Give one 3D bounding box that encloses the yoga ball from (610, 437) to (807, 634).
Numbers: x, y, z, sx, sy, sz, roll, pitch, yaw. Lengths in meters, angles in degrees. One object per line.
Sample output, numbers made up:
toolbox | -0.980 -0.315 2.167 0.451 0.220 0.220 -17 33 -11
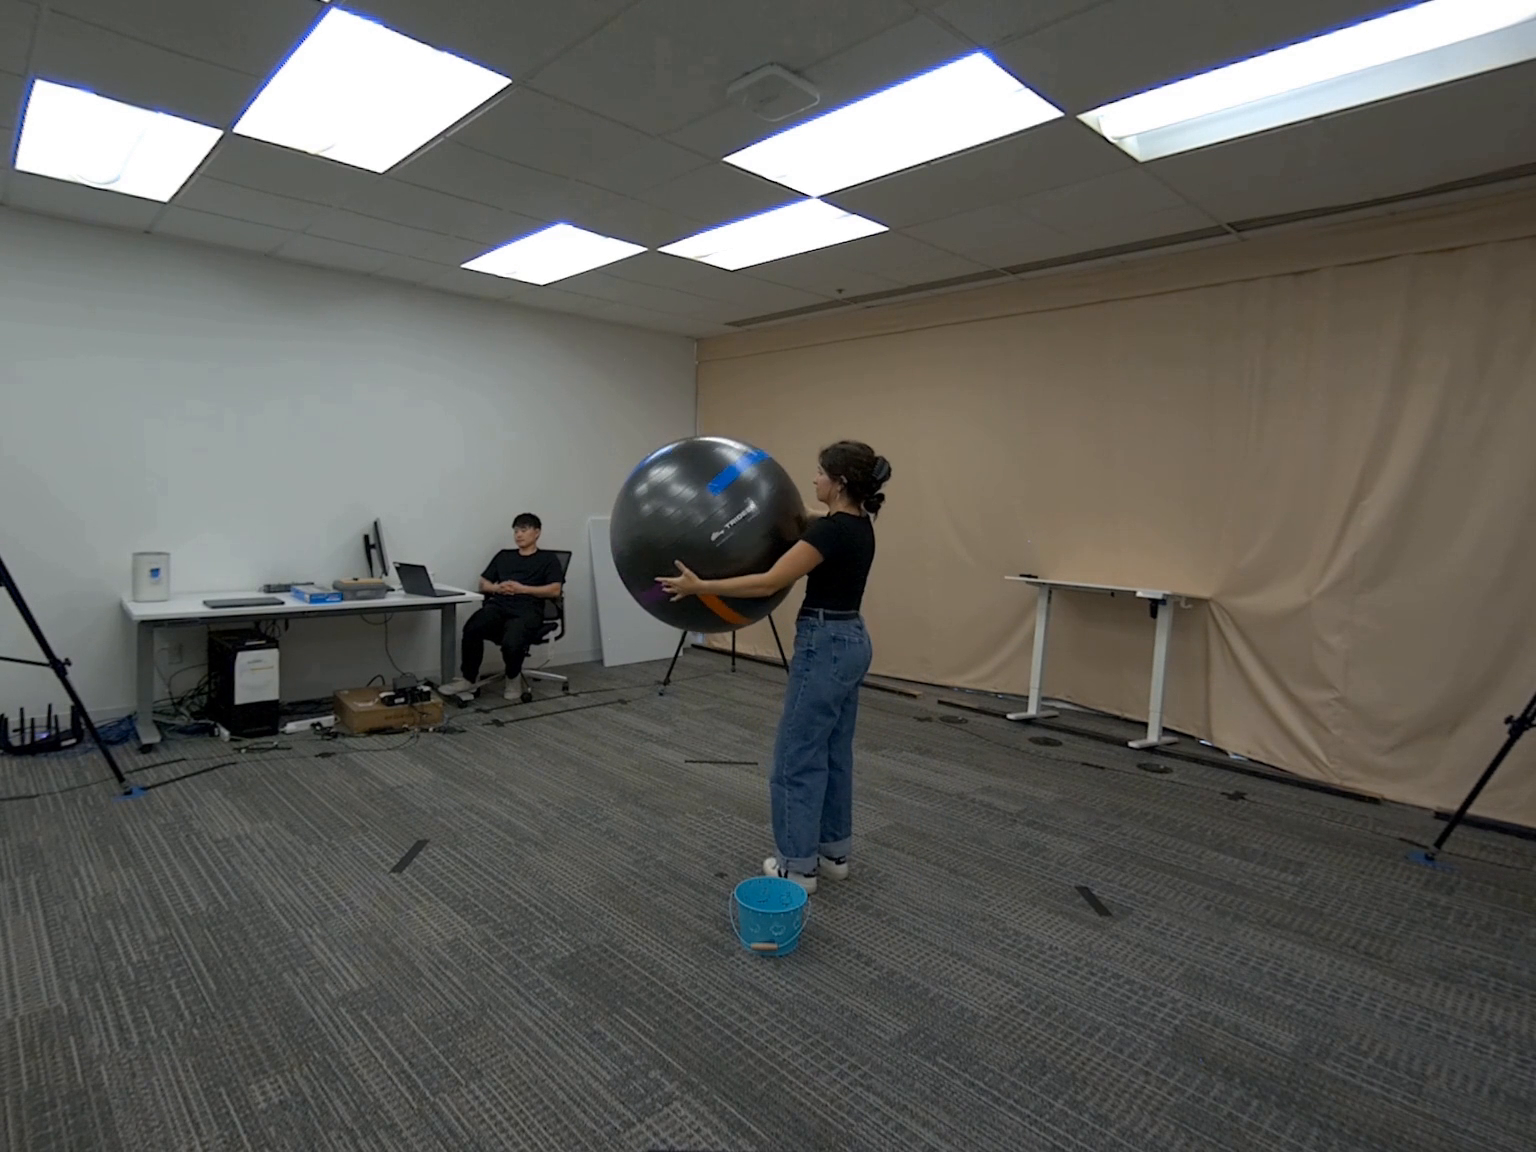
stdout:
yoga ball | -0.236 -0.166 3.232 0.757 0.756 0.761 1 4 -1
